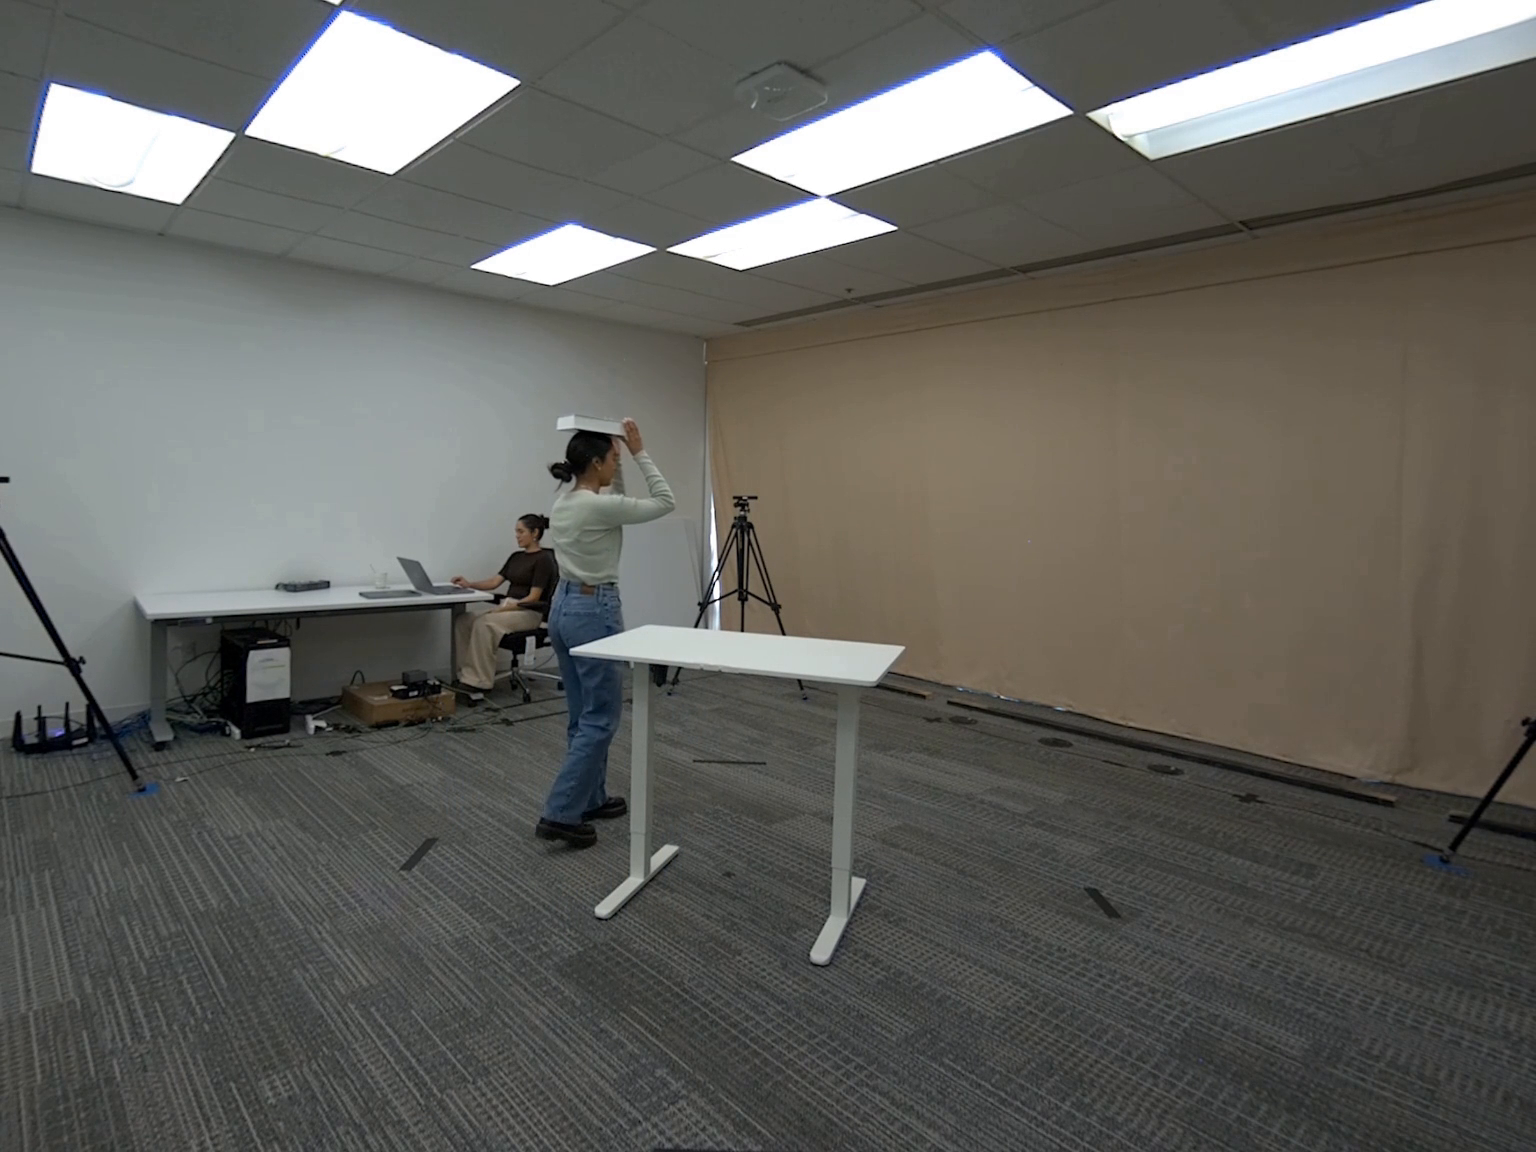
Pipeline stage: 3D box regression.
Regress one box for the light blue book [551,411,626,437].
[{"bbox_3d":[-0.725,-0.618,3.448,0.255,0.059,0.196,3,3,-34],"label":"light blue book"}]
